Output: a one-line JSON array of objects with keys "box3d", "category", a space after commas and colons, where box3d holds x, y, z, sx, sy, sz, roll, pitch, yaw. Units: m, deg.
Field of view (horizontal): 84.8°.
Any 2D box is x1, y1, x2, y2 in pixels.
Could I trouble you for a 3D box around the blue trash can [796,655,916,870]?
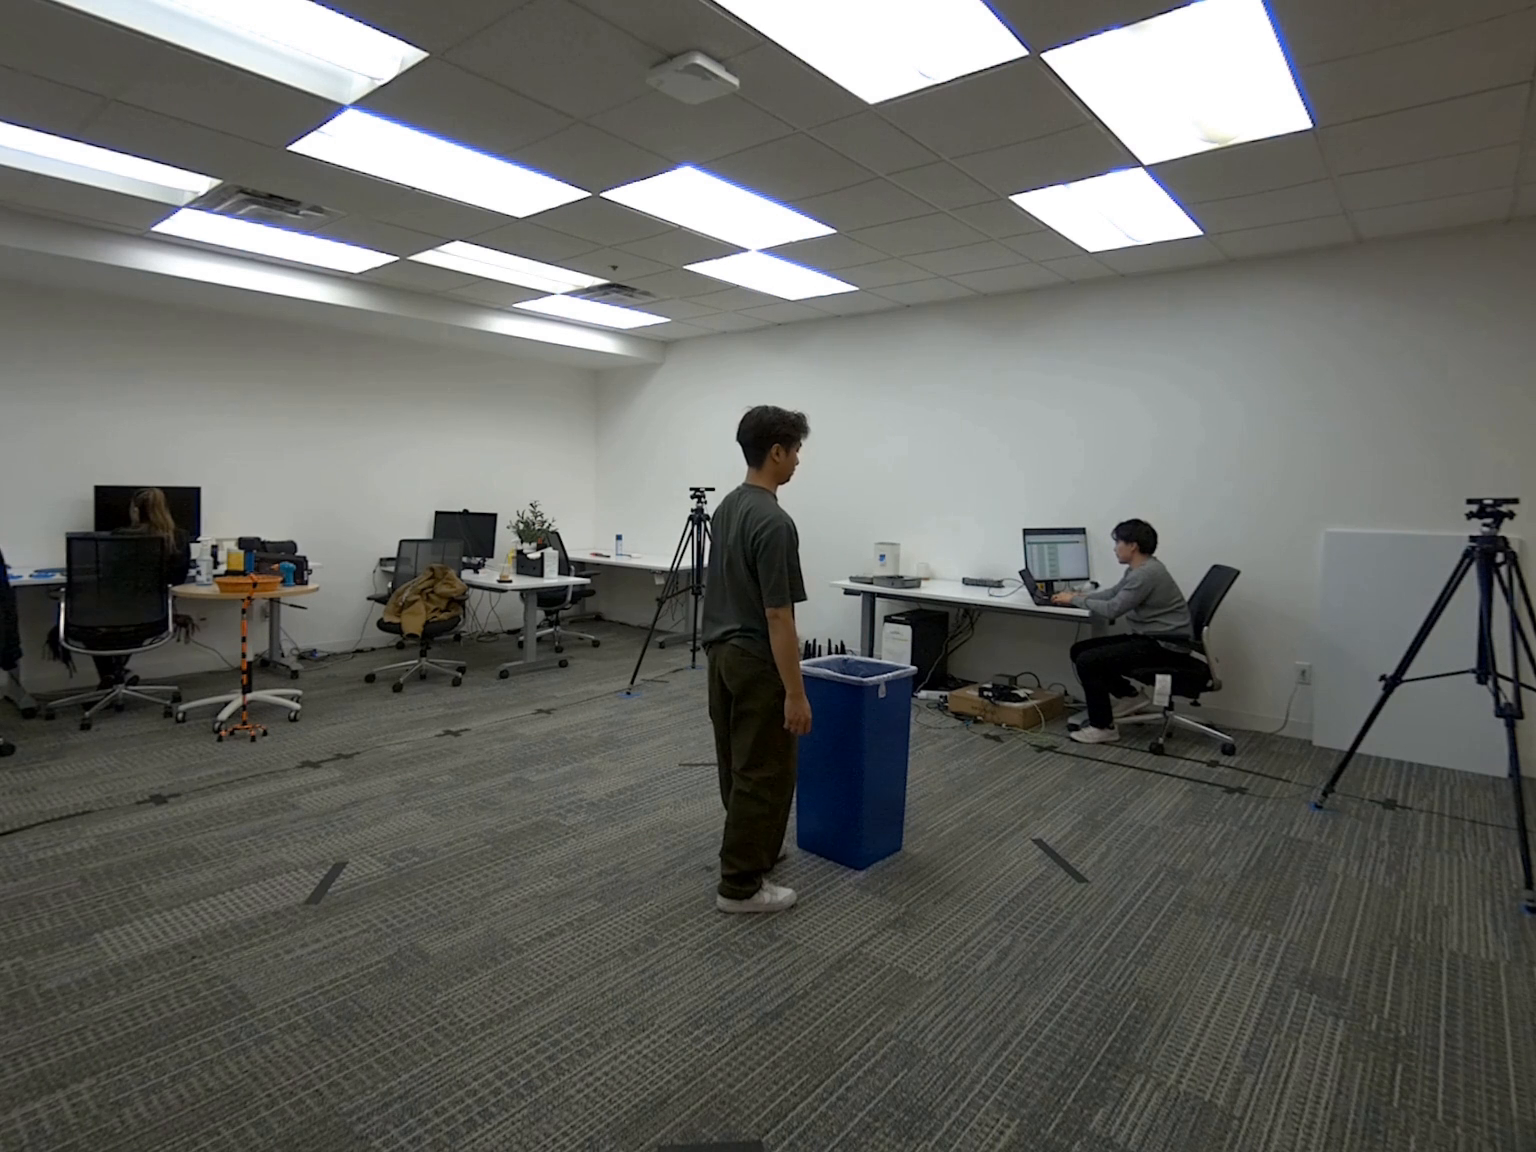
[{"box3d": [0.315, 0.699, 3.312, 0.387, 0.712, 0.366, 5, 4, 42], "category": "blue trash can"}]
